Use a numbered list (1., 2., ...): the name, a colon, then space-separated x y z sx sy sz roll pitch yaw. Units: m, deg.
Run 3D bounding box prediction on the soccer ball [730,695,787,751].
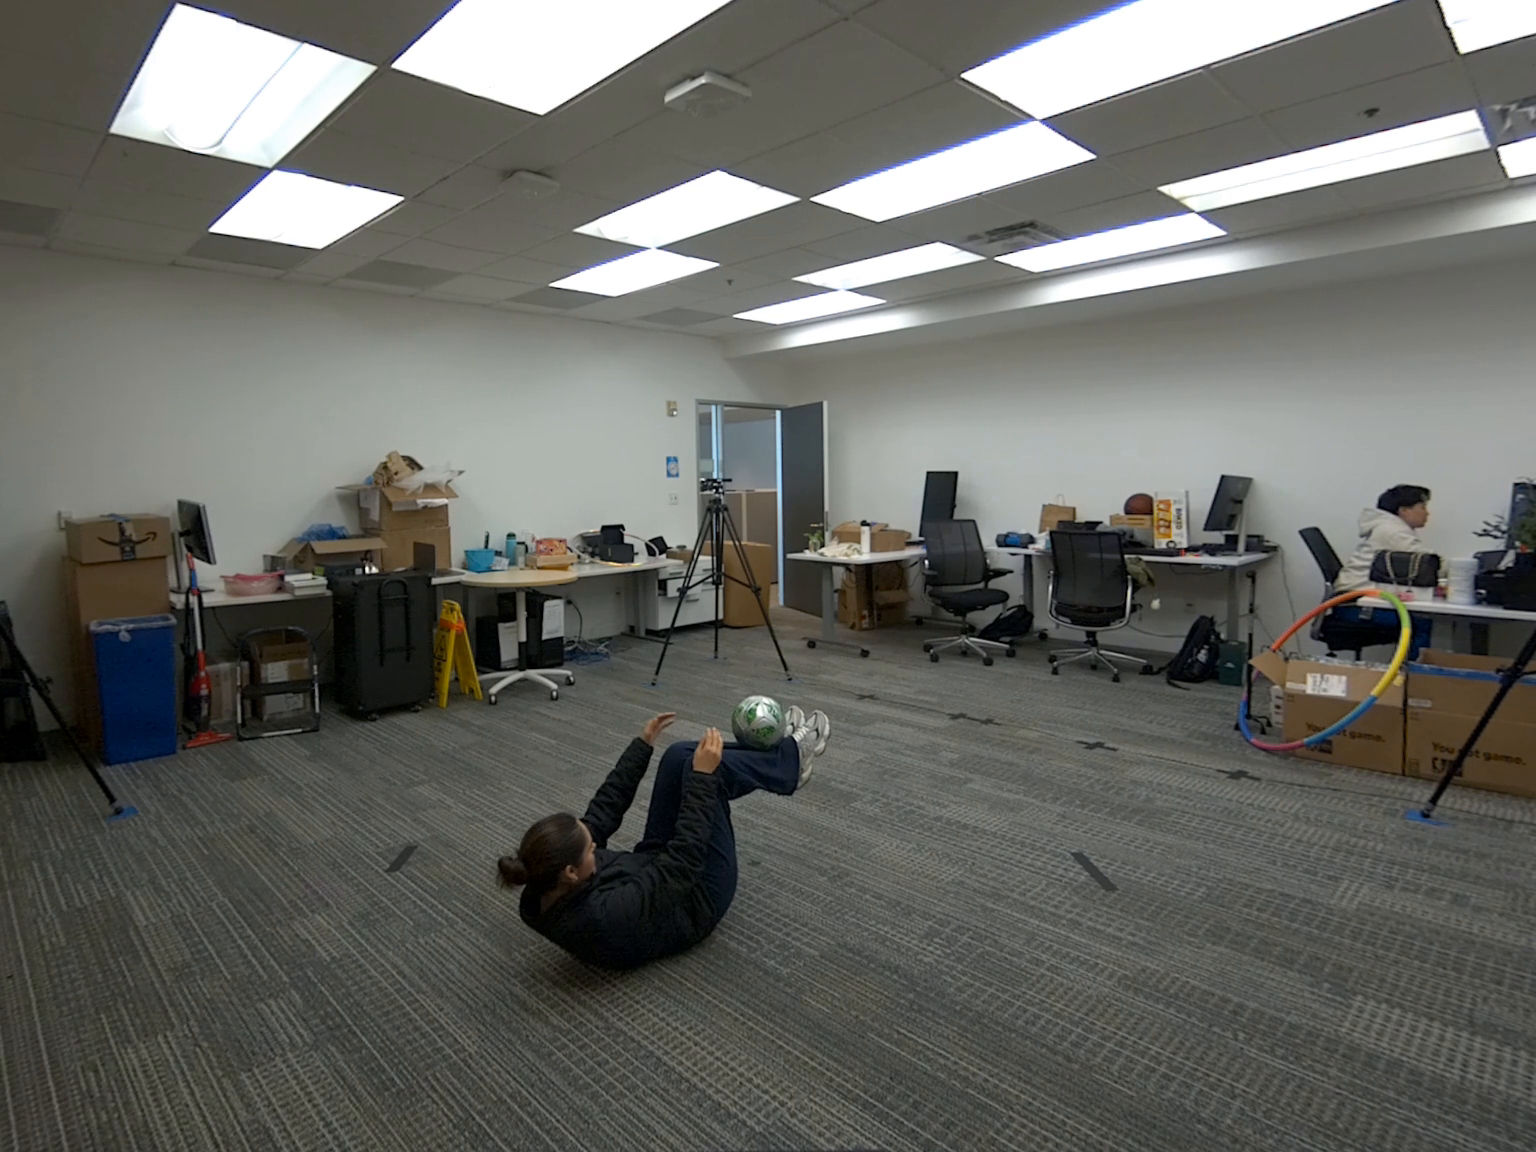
1. soccer ball: -0.025 0.492 2.875 0.187 0.187 0.188 0 1 -2
